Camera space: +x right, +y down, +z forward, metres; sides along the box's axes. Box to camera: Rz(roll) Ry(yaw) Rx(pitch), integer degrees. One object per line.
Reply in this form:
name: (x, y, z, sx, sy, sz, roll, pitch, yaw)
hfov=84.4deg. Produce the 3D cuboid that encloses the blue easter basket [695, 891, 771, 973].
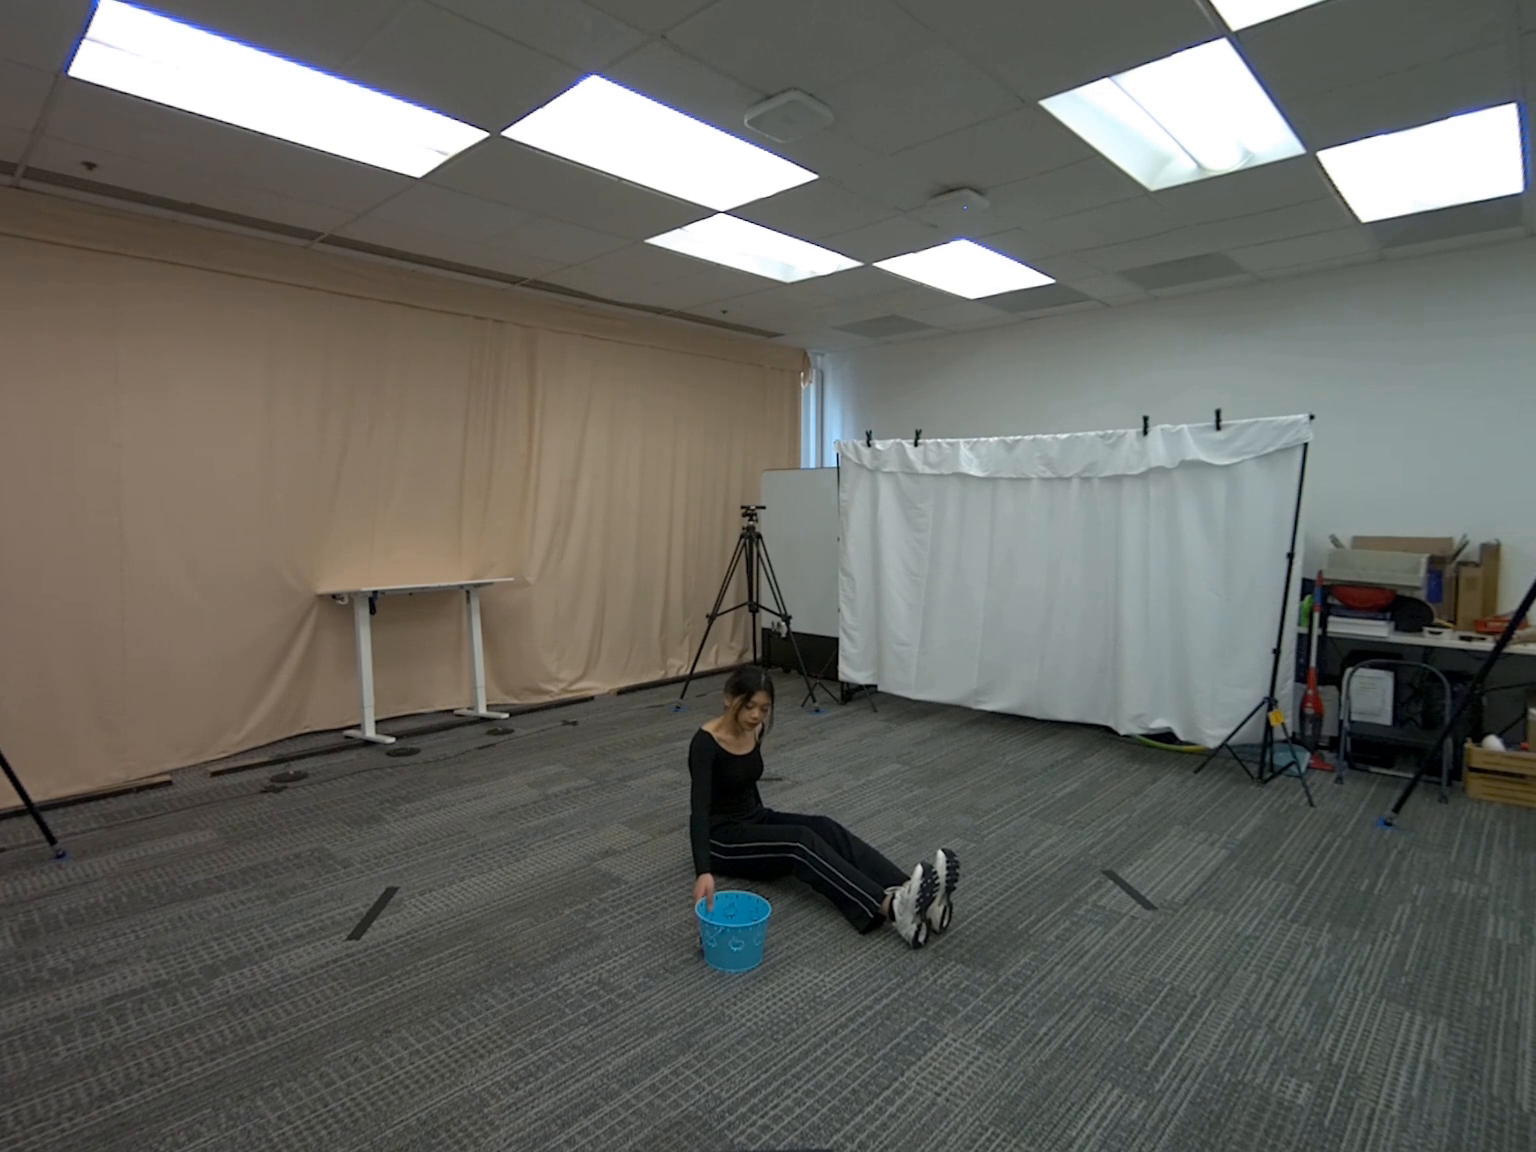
blue easter basket: (-0.110, 1.093, 2.607, 0.243, 0.155, 0.244, 0, 4, -2)
